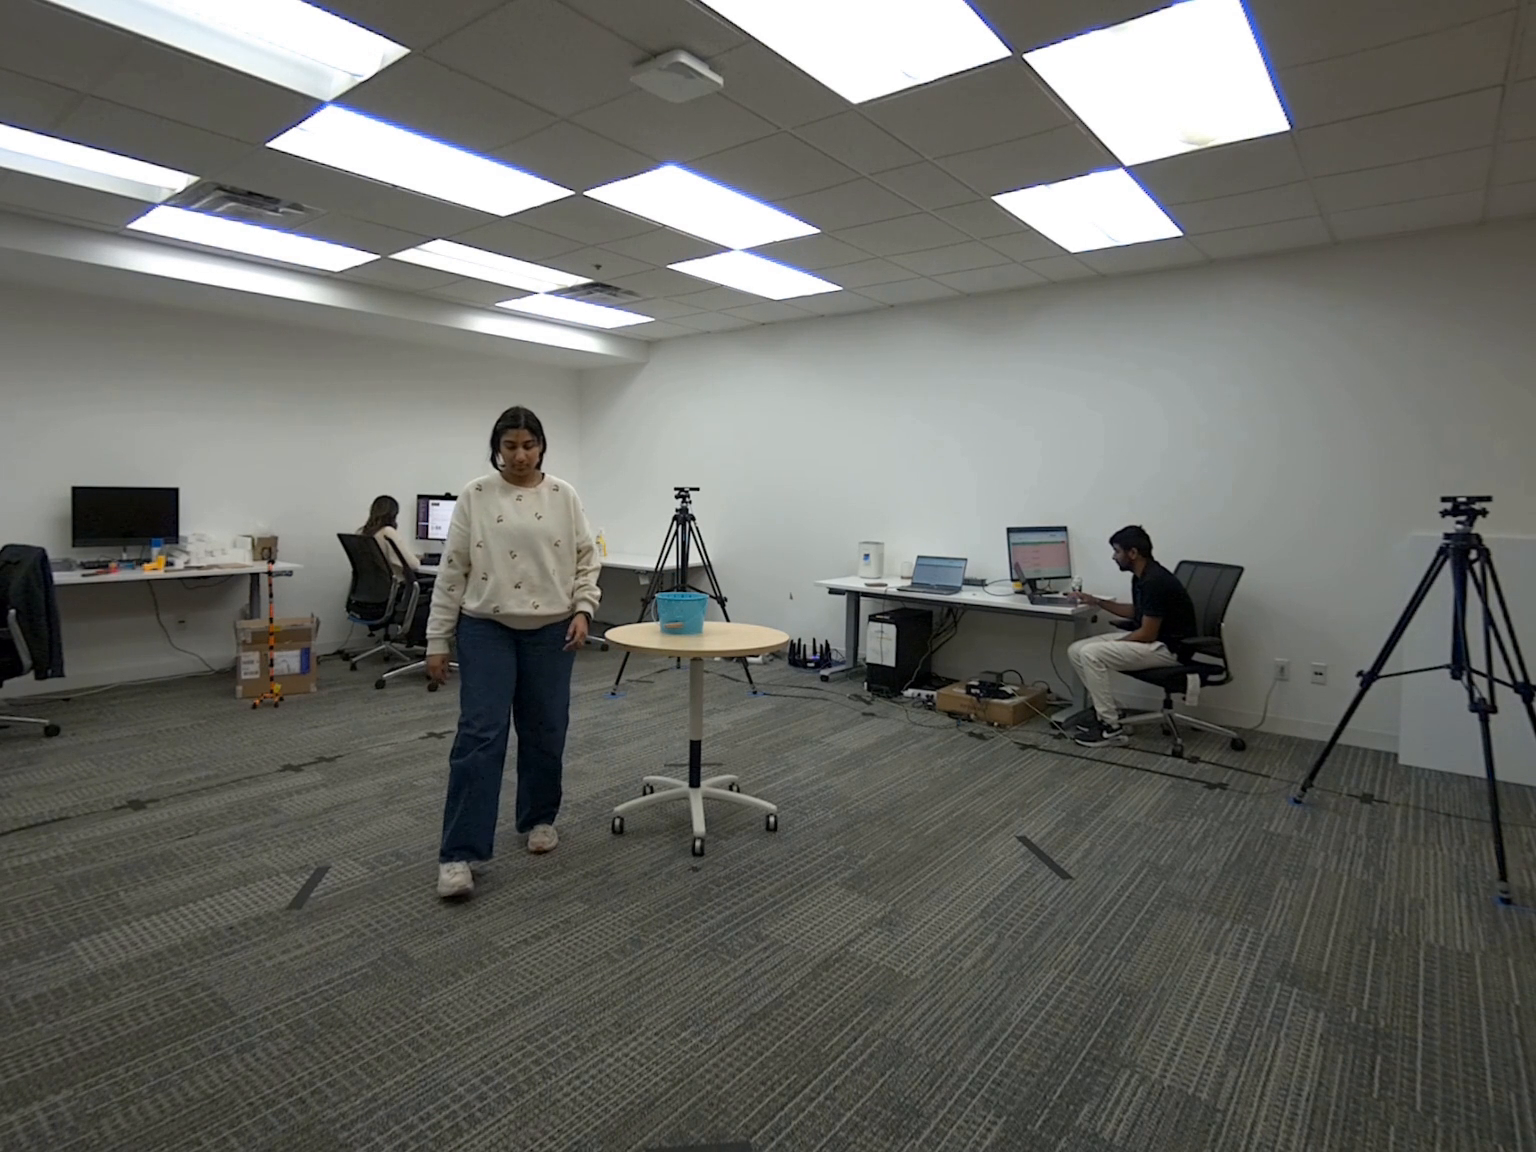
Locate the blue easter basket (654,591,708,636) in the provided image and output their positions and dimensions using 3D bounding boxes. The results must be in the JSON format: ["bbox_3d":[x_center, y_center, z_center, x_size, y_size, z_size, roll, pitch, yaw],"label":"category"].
[{"bbox_3d":[-0.388,0.161,3.628,0.243,0.155,0.244,1,3,-2],"label":"blue easter basket"}]
